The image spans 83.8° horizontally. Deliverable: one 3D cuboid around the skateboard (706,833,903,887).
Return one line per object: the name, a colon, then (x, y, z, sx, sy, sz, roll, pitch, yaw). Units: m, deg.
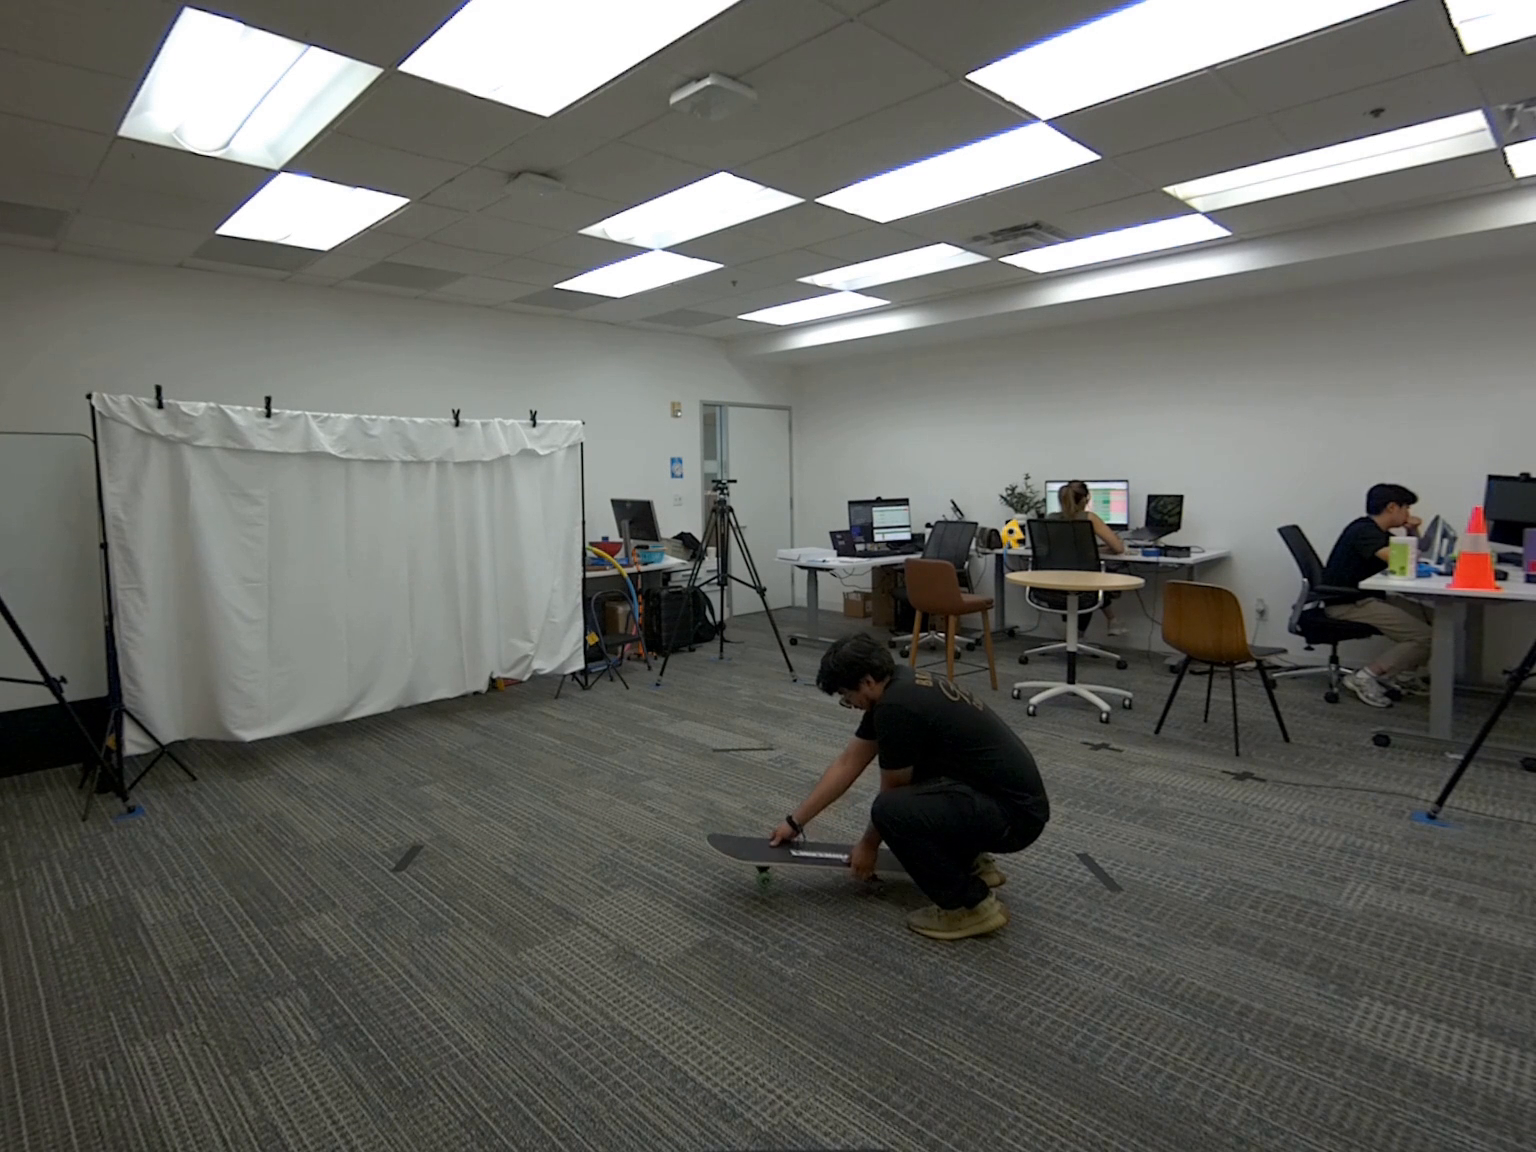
skateboard: (0.173, 0.977, 2.898, 0.779, 0.110, 0.196, 7, 5, -7)
